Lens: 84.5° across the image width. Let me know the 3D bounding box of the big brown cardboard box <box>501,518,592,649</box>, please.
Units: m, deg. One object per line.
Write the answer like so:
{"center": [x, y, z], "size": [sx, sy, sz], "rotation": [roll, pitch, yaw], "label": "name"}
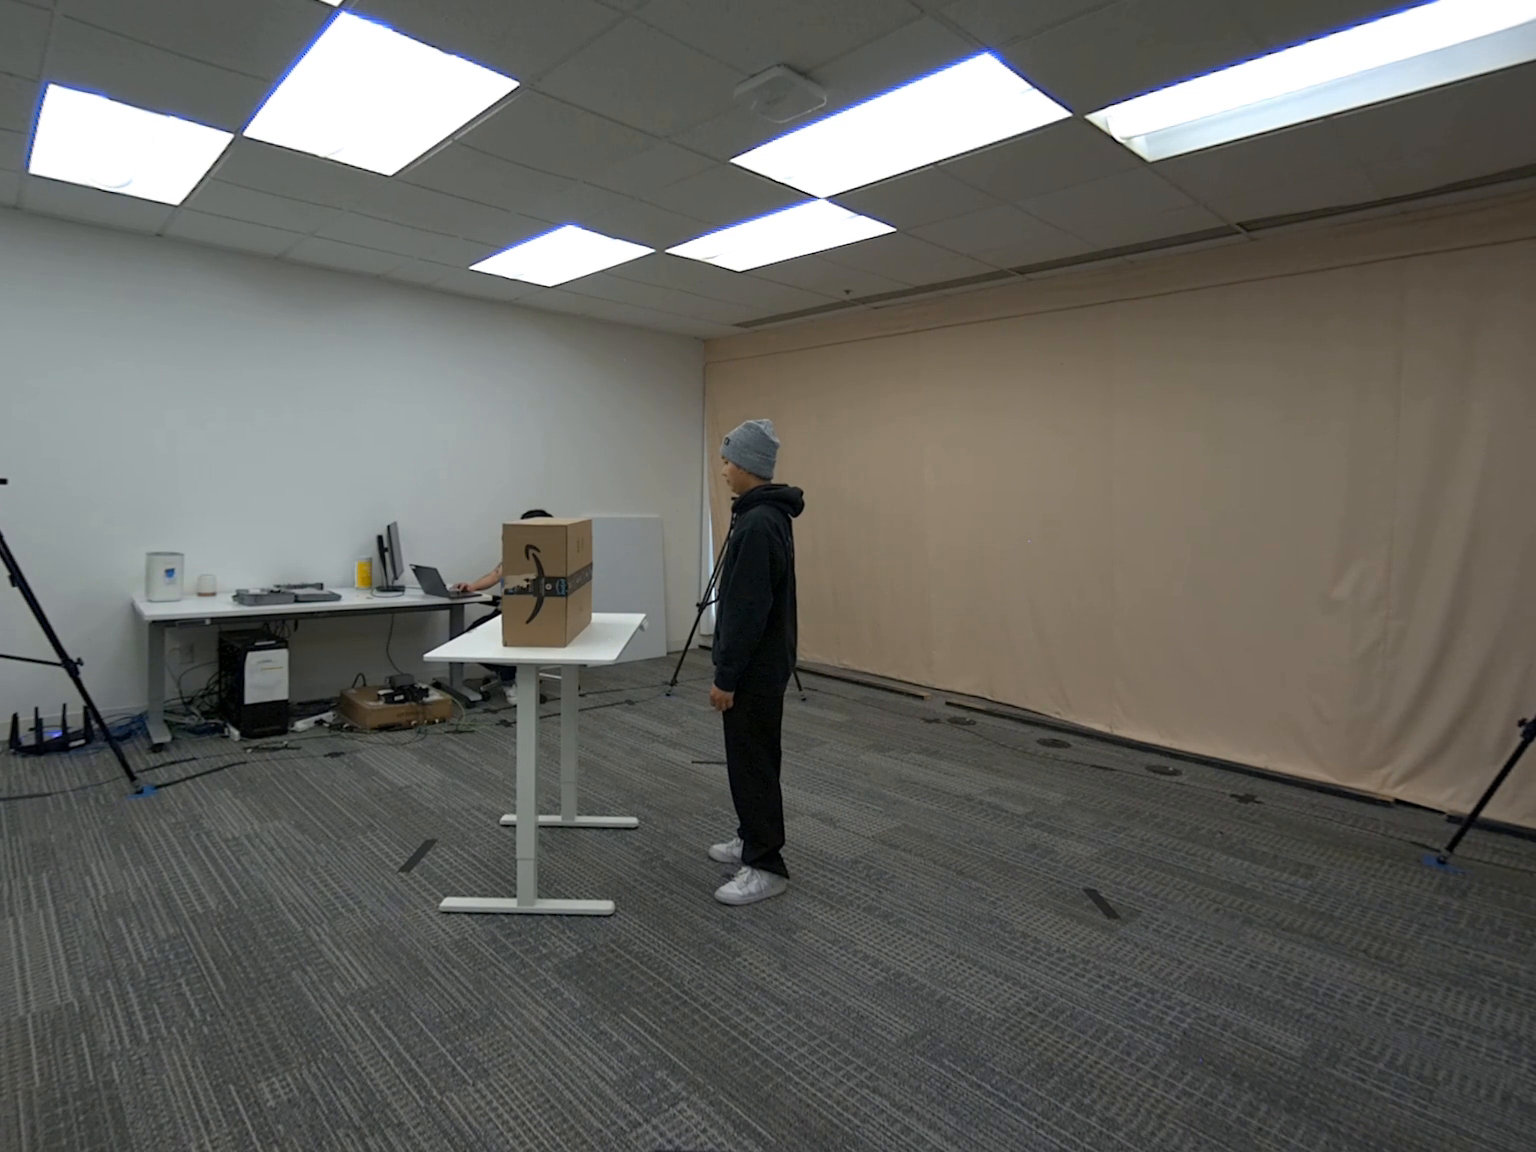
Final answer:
{"center": [-0.795, 0.004, 3.081], "size": [0.233, 0.416, 0.592], "rotation": [0, 5, -3], "label": "big brown cardboard box"}
